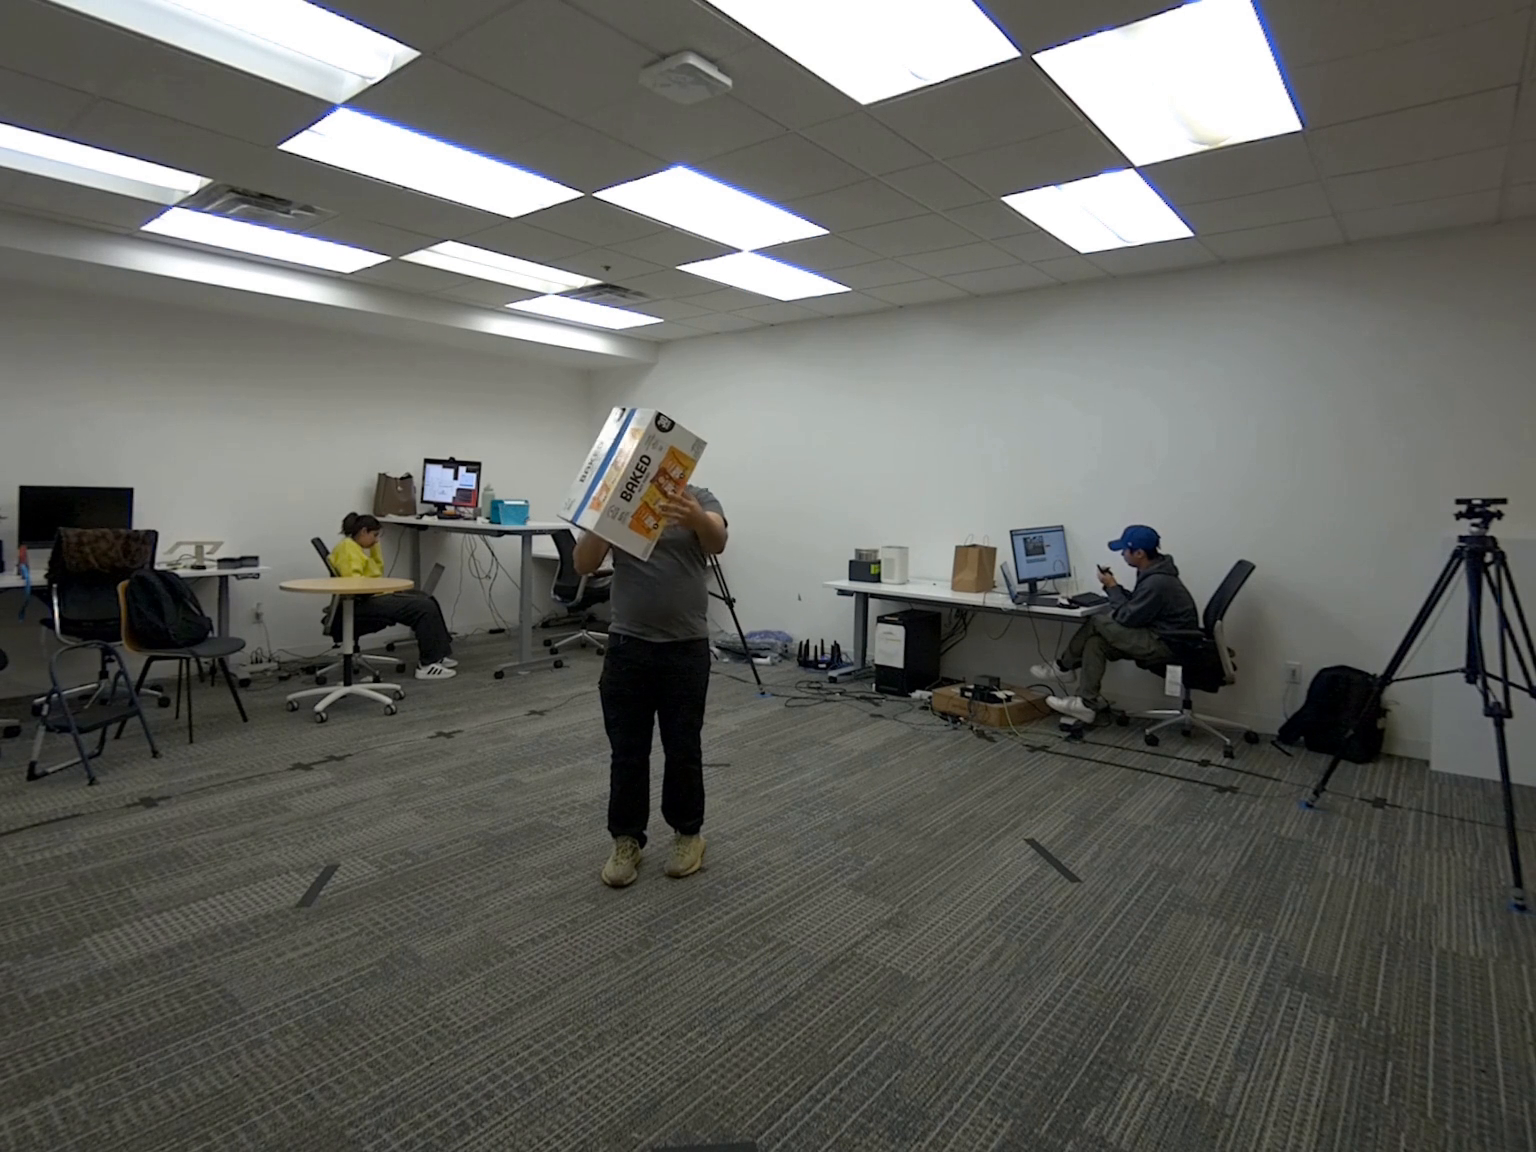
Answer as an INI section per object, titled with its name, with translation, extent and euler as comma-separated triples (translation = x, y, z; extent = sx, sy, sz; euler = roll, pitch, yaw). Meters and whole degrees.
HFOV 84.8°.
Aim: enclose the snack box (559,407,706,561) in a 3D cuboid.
[snack box]
translation = -0.437, -0.299, 2.642
extent = 0.198, 0.406, 0.352
euler = 30, -6, -32
